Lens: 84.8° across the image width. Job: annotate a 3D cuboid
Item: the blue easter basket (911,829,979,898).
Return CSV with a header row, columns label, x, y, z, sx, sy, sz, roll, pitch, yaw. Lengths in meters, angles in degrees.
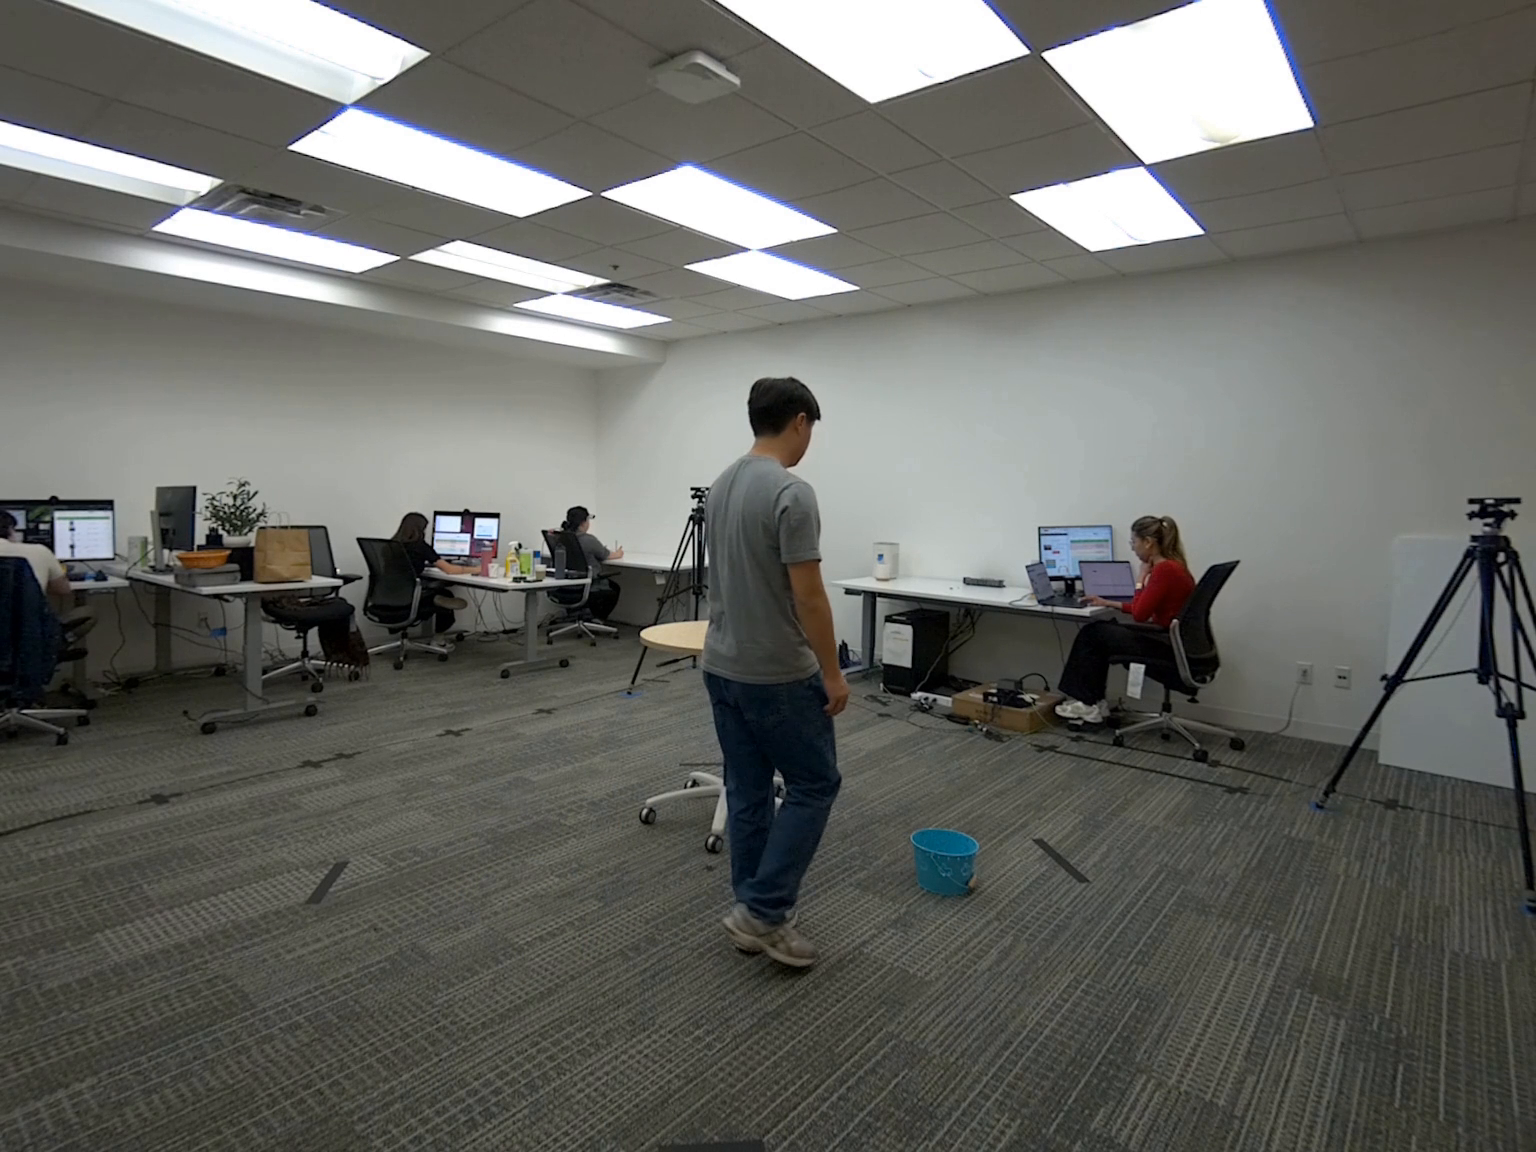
label,x,y,z,sx,sy,sz,roll,pitch,yaw
blue easter basket,0.619,1.015,3.024,0.243,0.155,0.245,1,5,-2
